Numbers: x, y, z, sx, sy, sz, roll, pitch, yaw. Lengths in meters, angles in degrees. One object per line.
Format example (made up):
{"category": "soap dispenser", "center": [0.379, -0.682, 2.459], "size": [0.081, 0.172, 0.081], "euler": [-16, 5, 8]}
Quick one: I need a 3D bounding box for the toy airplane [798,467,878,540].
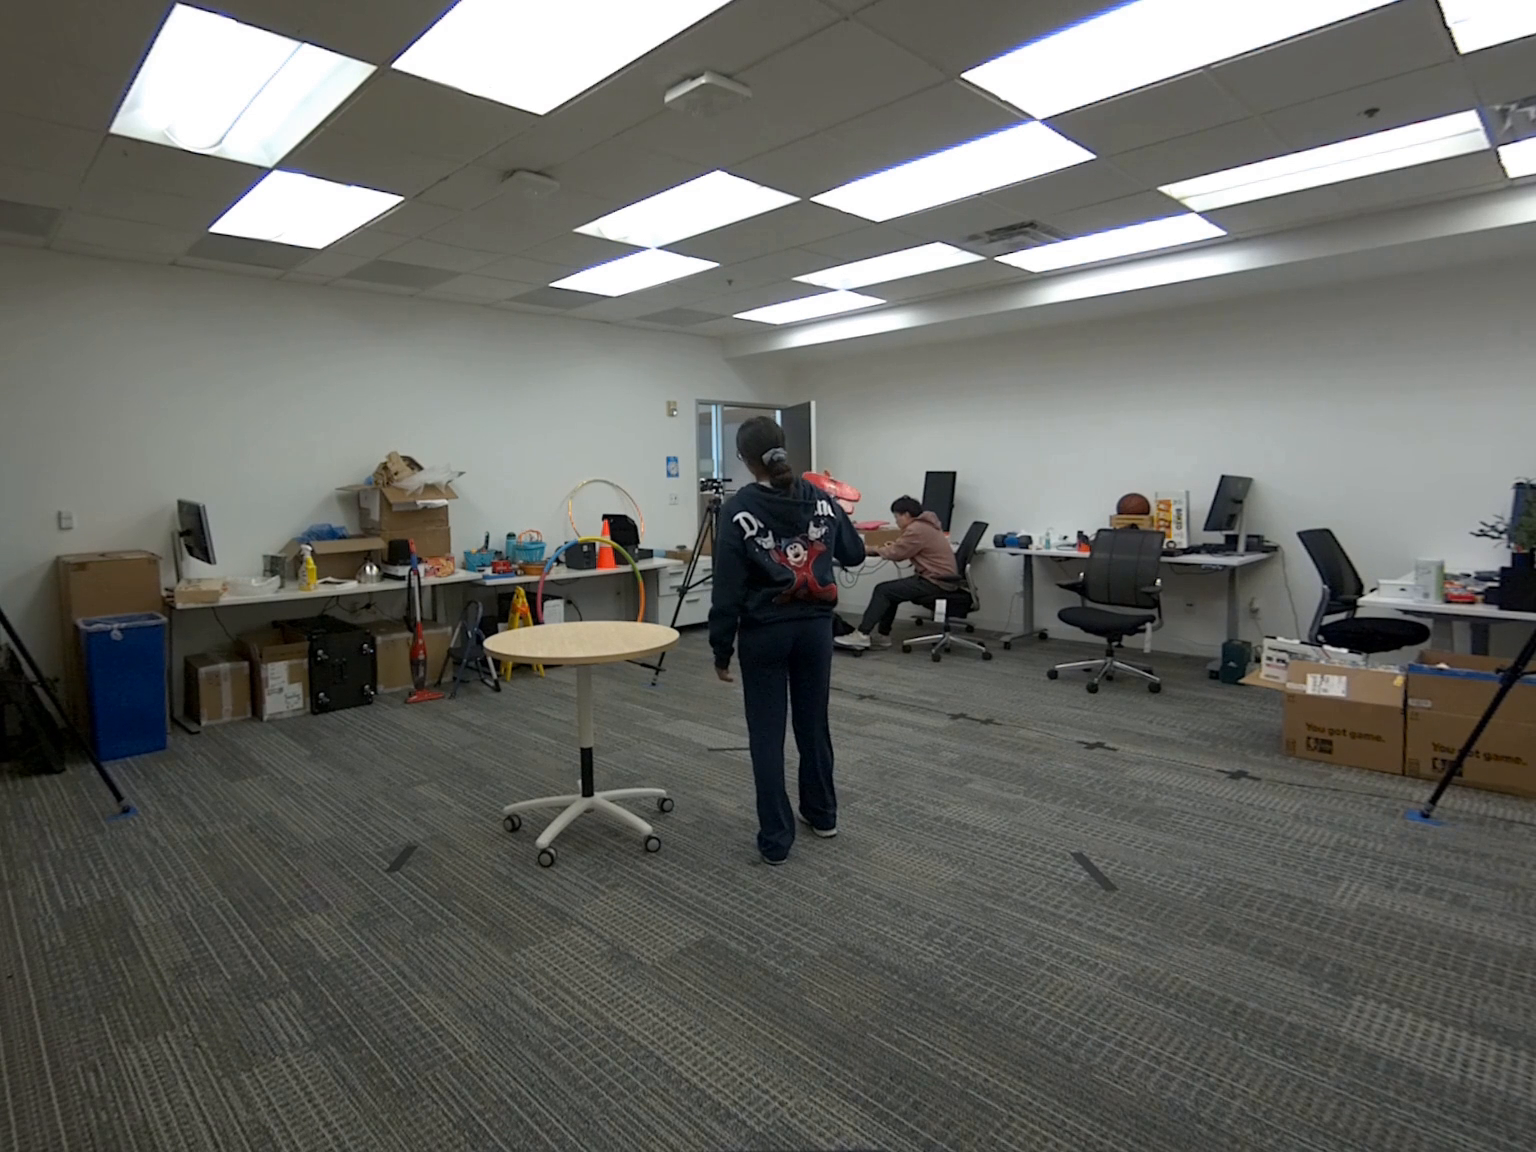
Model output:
{"category": "toy airplane", "center": [0.266, -0.303, 3.563], "size": [0.245, 0.154, 0.269], "euler": [5, 34, -24]}
